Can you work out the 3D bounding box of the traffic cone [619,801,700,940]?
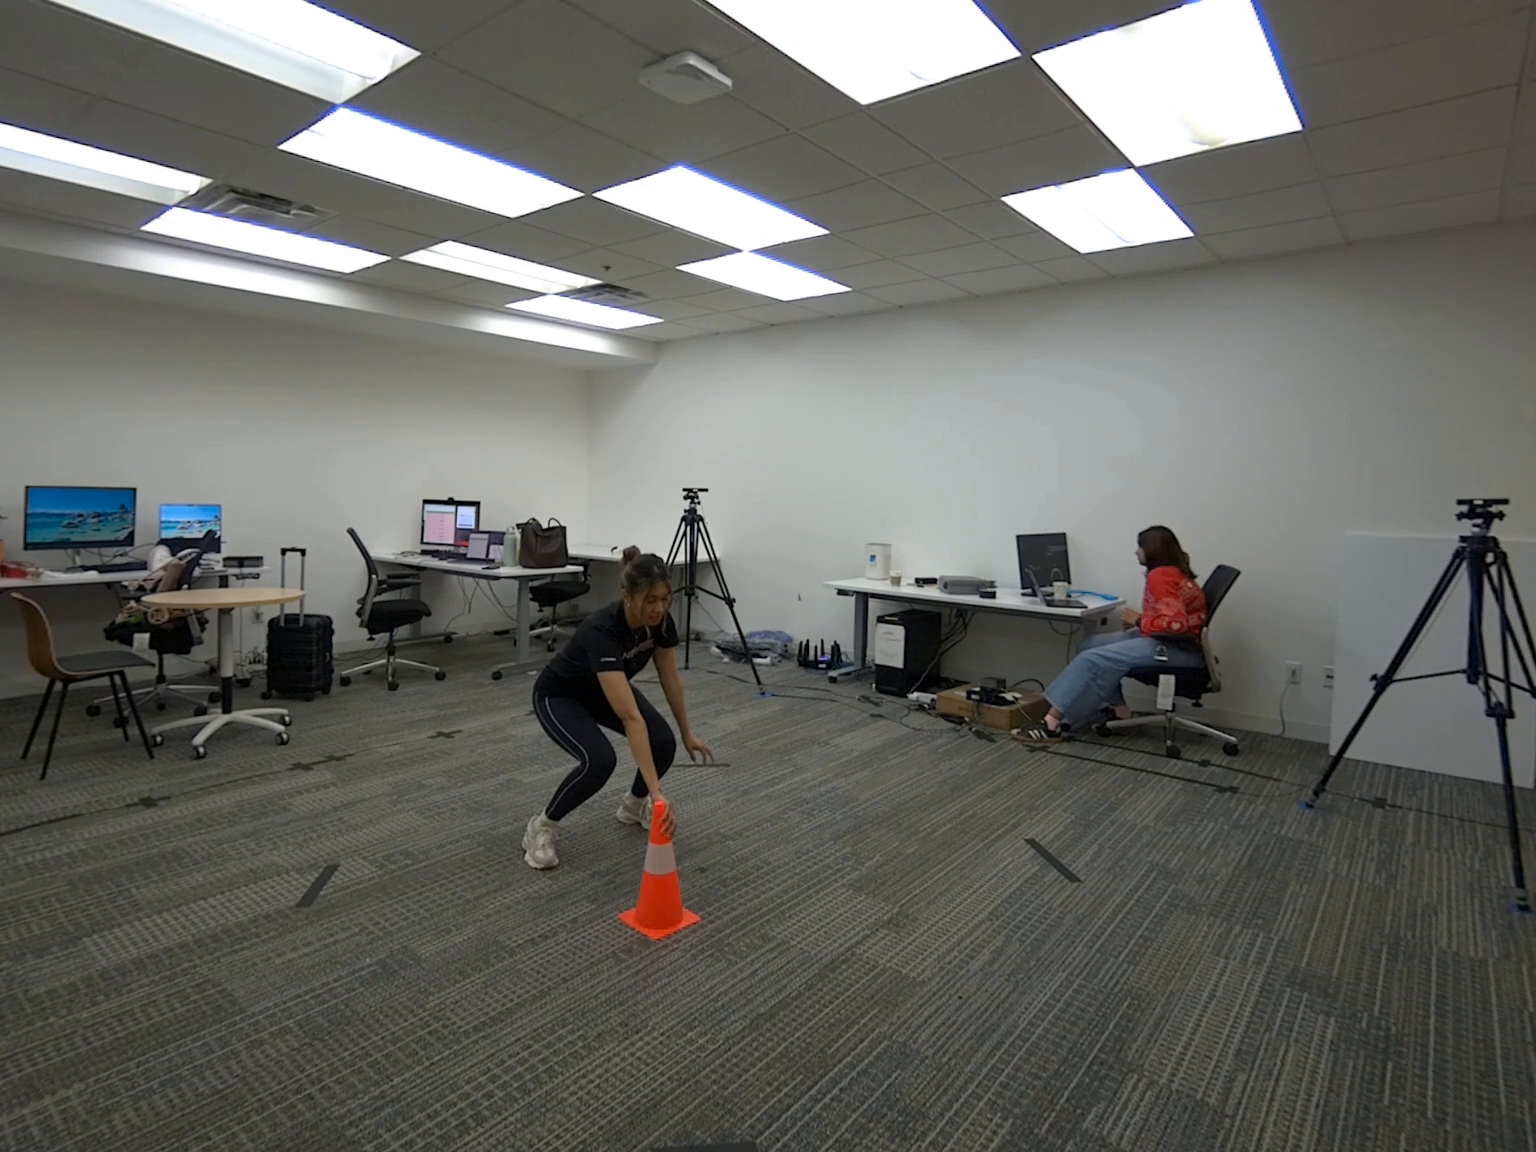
[{"bbox_3d":[-0.354,0.916,2.738,0.212,0.382,0.197,4,5,42],"label":"traffic cone"}]
